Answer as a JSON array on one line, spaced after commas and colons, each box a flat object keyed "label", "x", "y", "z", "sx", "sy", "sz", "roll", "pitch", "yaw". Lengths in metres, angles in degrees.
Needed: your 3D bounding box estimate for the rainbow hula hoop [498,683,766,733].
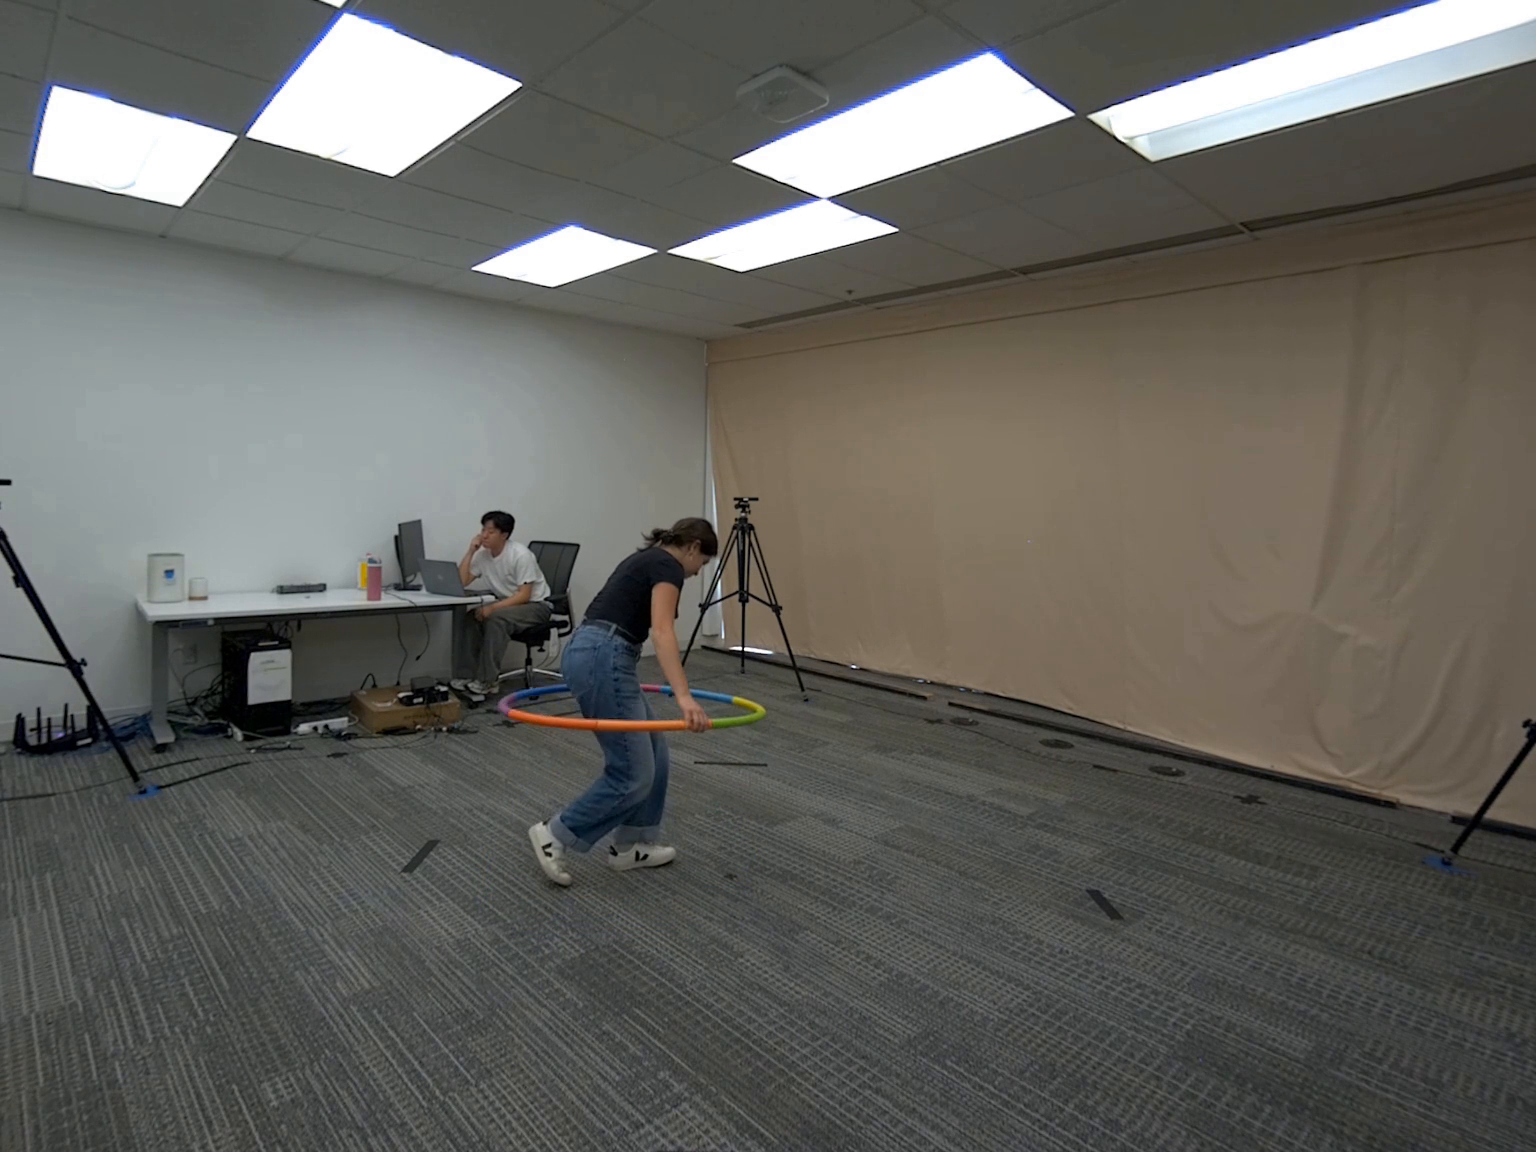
[{"label": "rainbow hula hoop", "x": -0.507, "y": 0.486, "z": 3.152, "sx": 0.978, "sy": 0.035, "sz": 0.978, "roll": 3, "pitch": -1, "yaw": -1}]
